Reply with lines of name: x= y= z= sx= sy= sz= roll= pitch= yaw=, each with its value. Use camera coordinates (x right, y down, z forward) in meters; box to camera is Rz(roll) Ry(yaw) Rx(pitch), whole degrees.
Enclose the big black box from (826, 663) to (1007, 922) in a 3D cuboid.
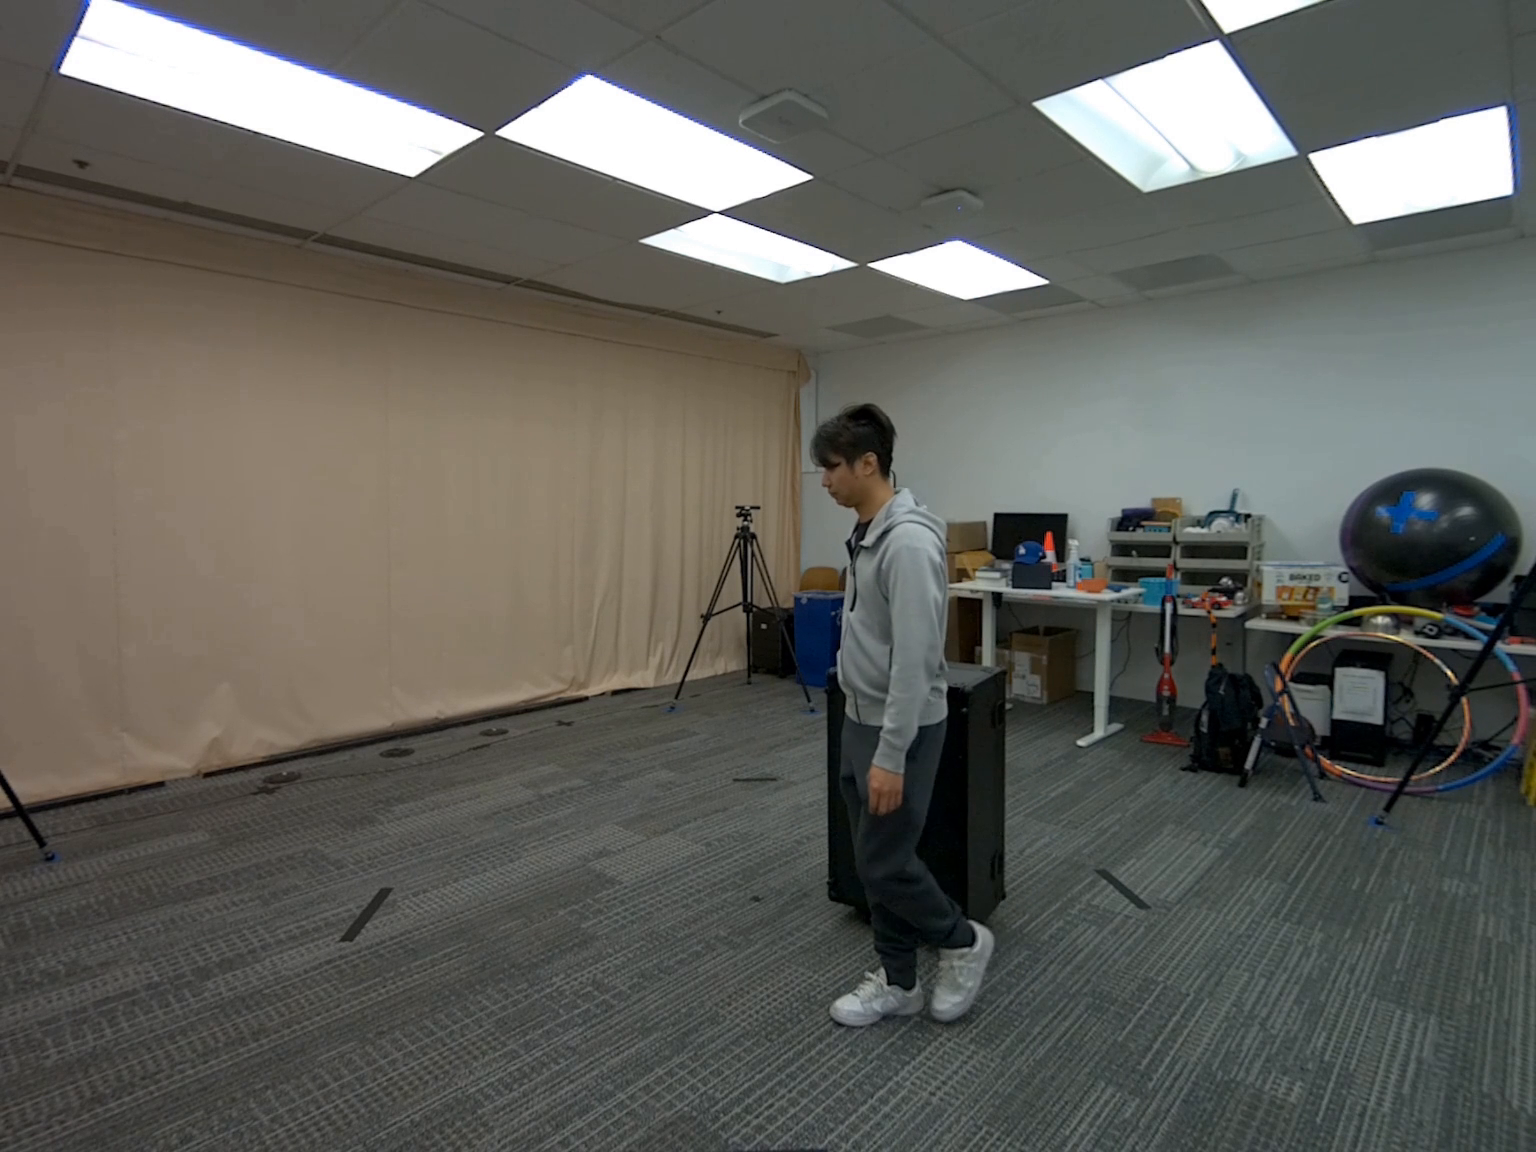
big black box: x=0.498 y=0.733 z=2.795 sx=0.538 sy=0.859 sz=0.385 roll=2 pitch=6 yaw=35
